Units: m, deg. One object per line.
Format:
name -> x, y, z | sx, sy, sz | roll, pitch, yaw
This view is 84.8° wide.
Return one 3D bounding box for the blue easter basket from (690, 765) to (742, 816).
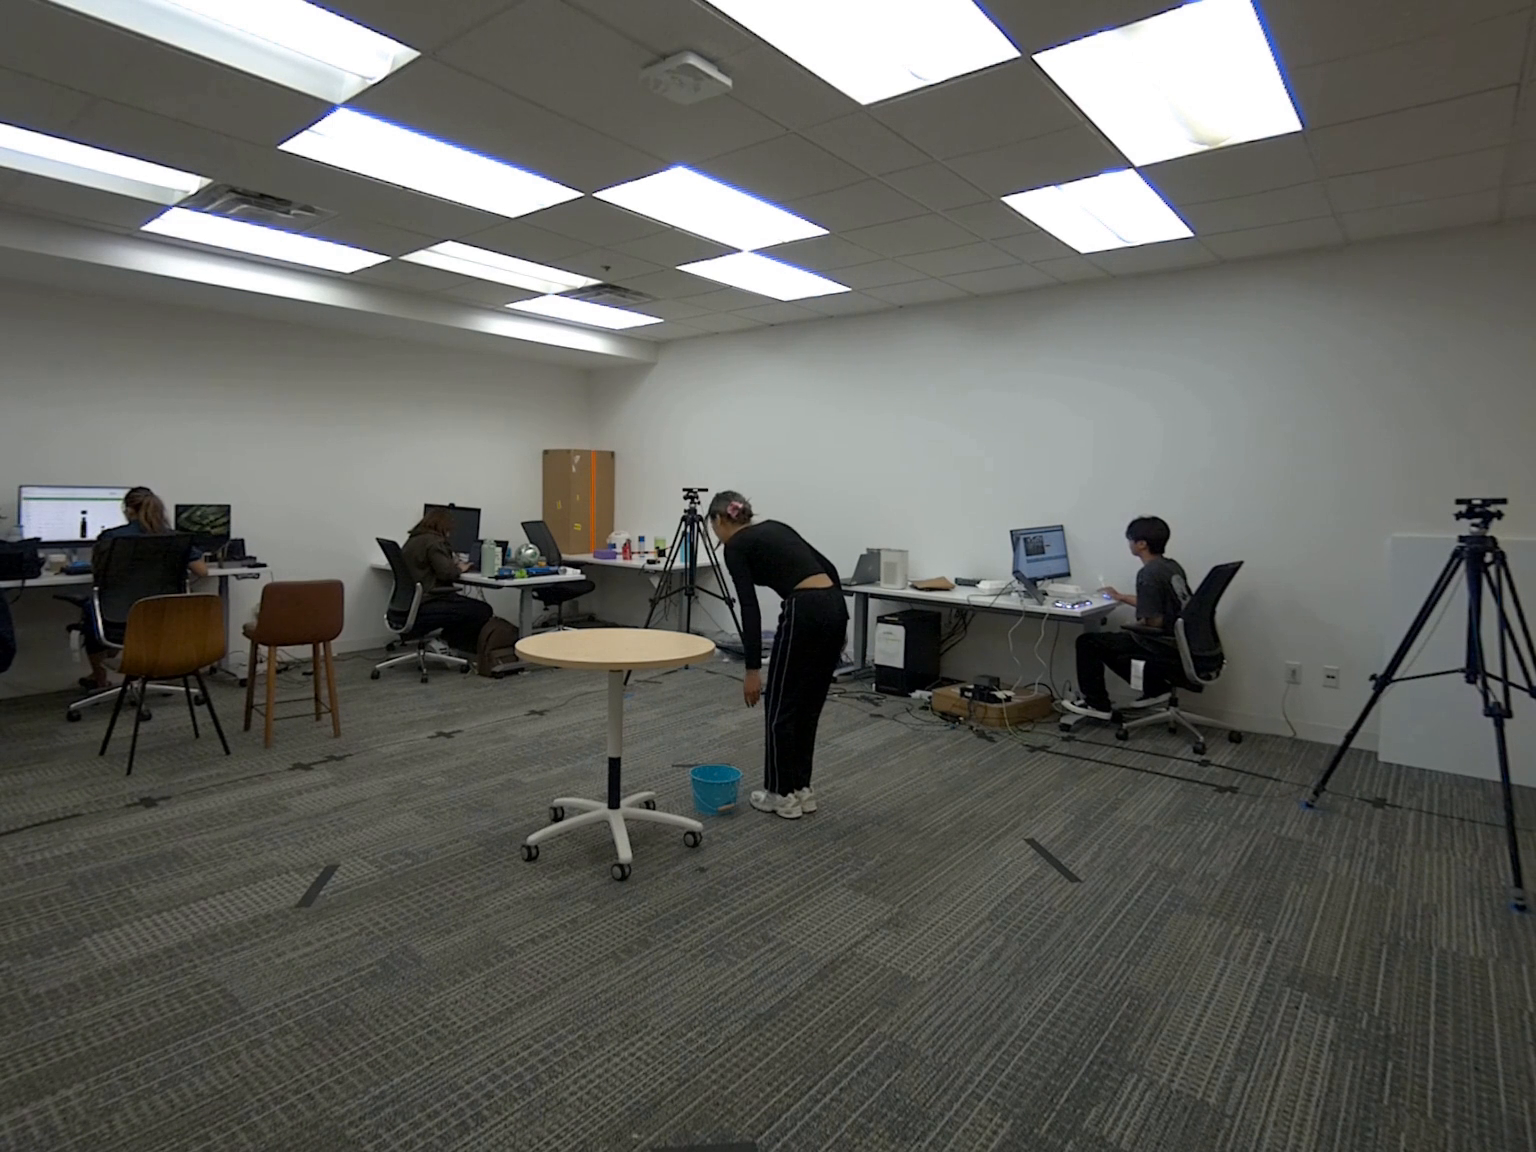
blue easter basket -> -0.241, 0.937, 3.727 | 0.243, 0.155, 0.245 | 1, 4, -2
